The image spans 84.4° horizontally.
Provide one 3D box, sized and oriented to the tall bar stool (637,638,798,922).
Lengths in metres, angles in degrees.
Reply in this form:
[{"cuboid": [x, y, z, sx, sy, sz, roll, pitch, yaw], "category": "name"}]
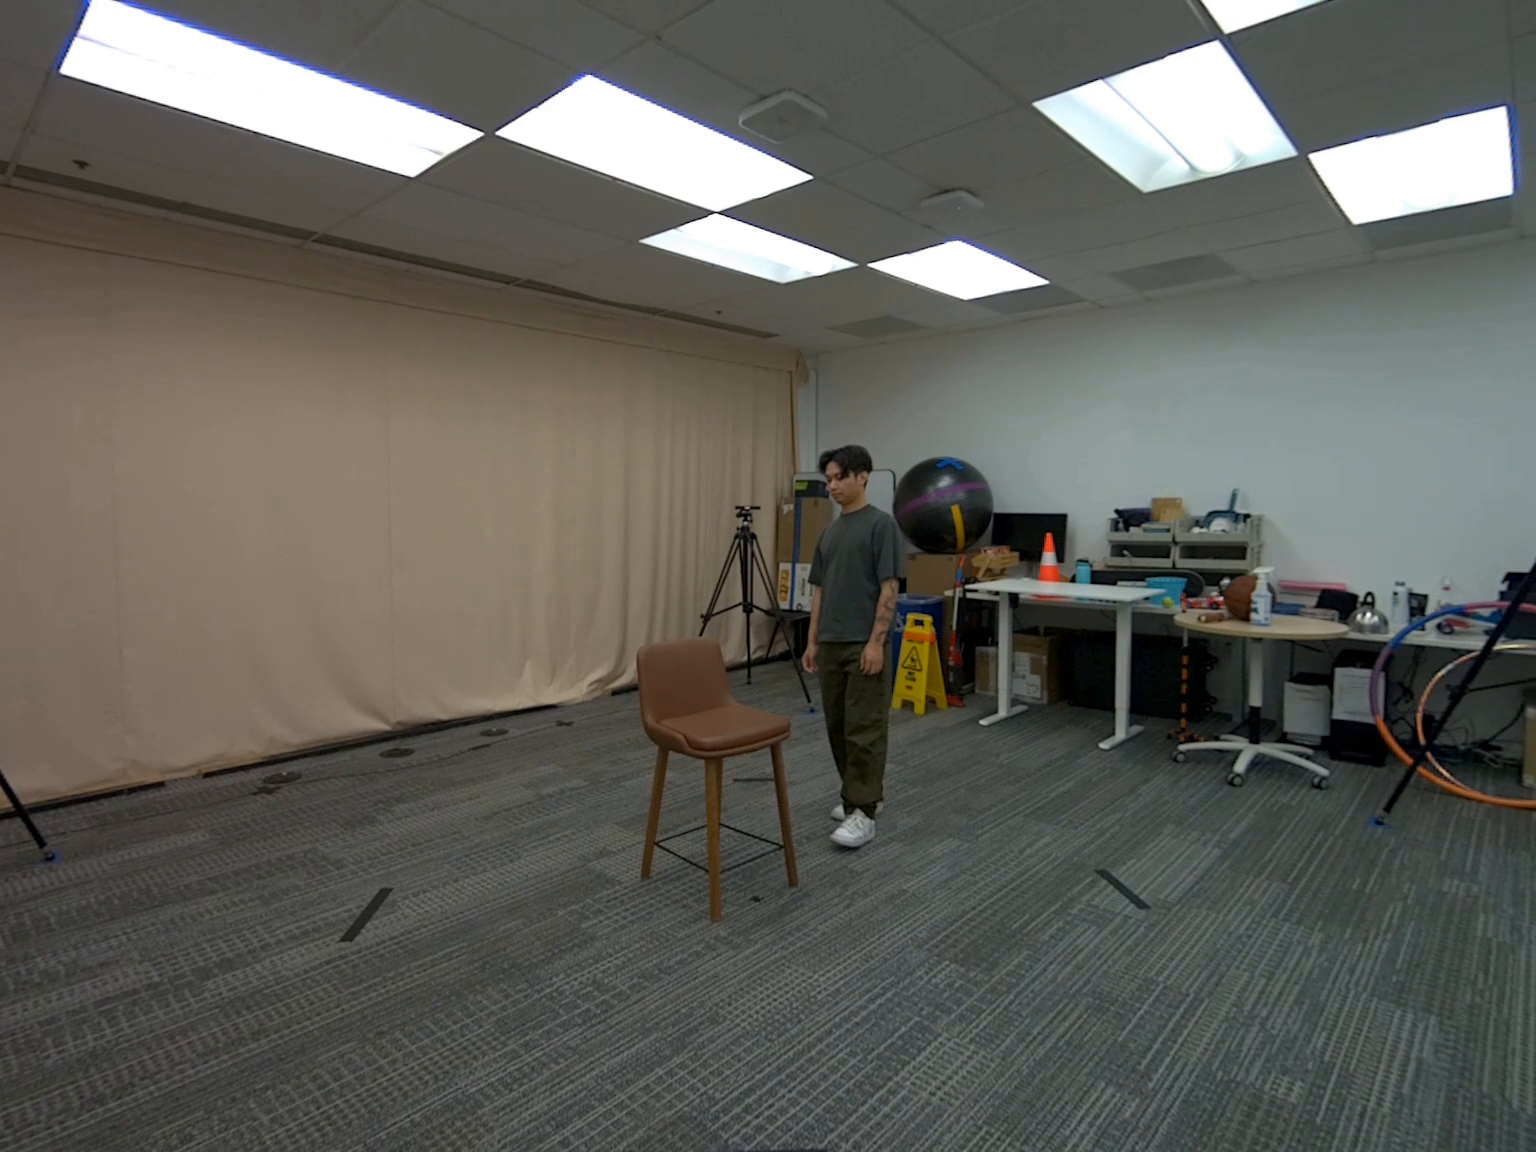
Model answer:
[{"cuboid": [-0.195, 0.699, 3.097, 0.442, 0.889, 0.483, -3, 2, -43], "category": "tall bar stool"}]
